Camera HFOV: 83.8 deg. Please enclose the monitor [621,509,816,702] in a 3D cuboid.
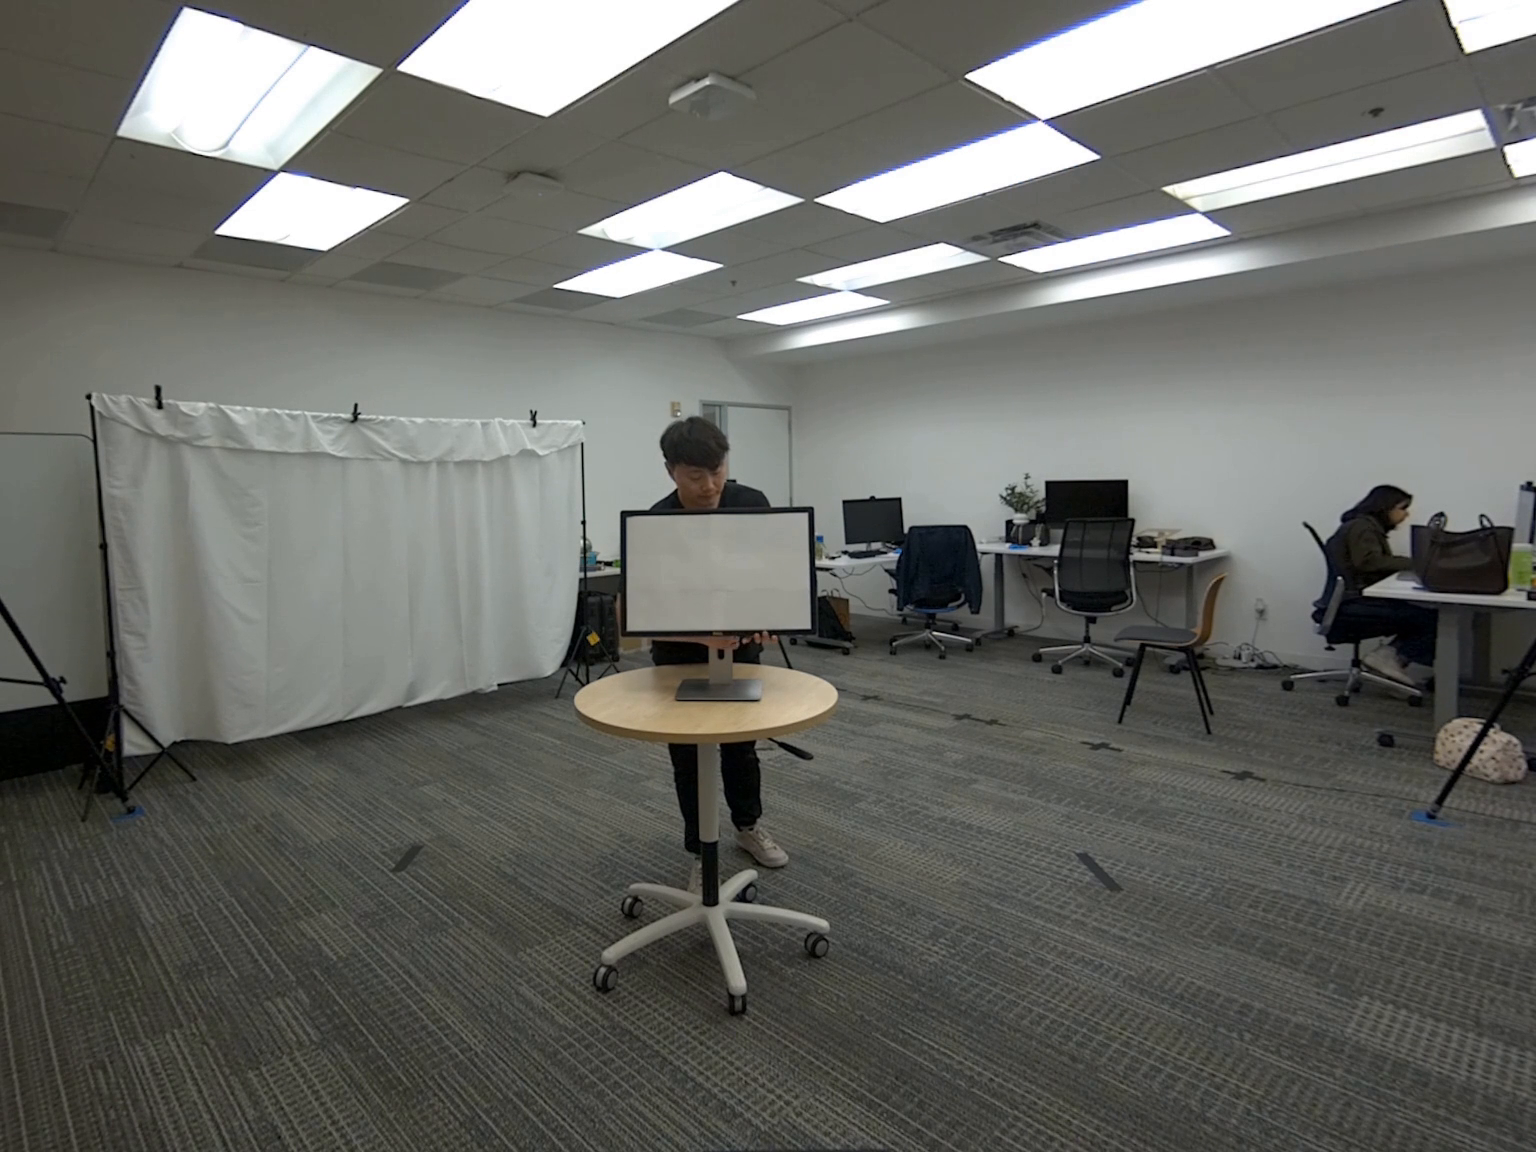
[{"bbox_3d":[-0.148,0.082,2.487,0.540,0.520,0.187,-2,6,2],"label":"monitor"}]
